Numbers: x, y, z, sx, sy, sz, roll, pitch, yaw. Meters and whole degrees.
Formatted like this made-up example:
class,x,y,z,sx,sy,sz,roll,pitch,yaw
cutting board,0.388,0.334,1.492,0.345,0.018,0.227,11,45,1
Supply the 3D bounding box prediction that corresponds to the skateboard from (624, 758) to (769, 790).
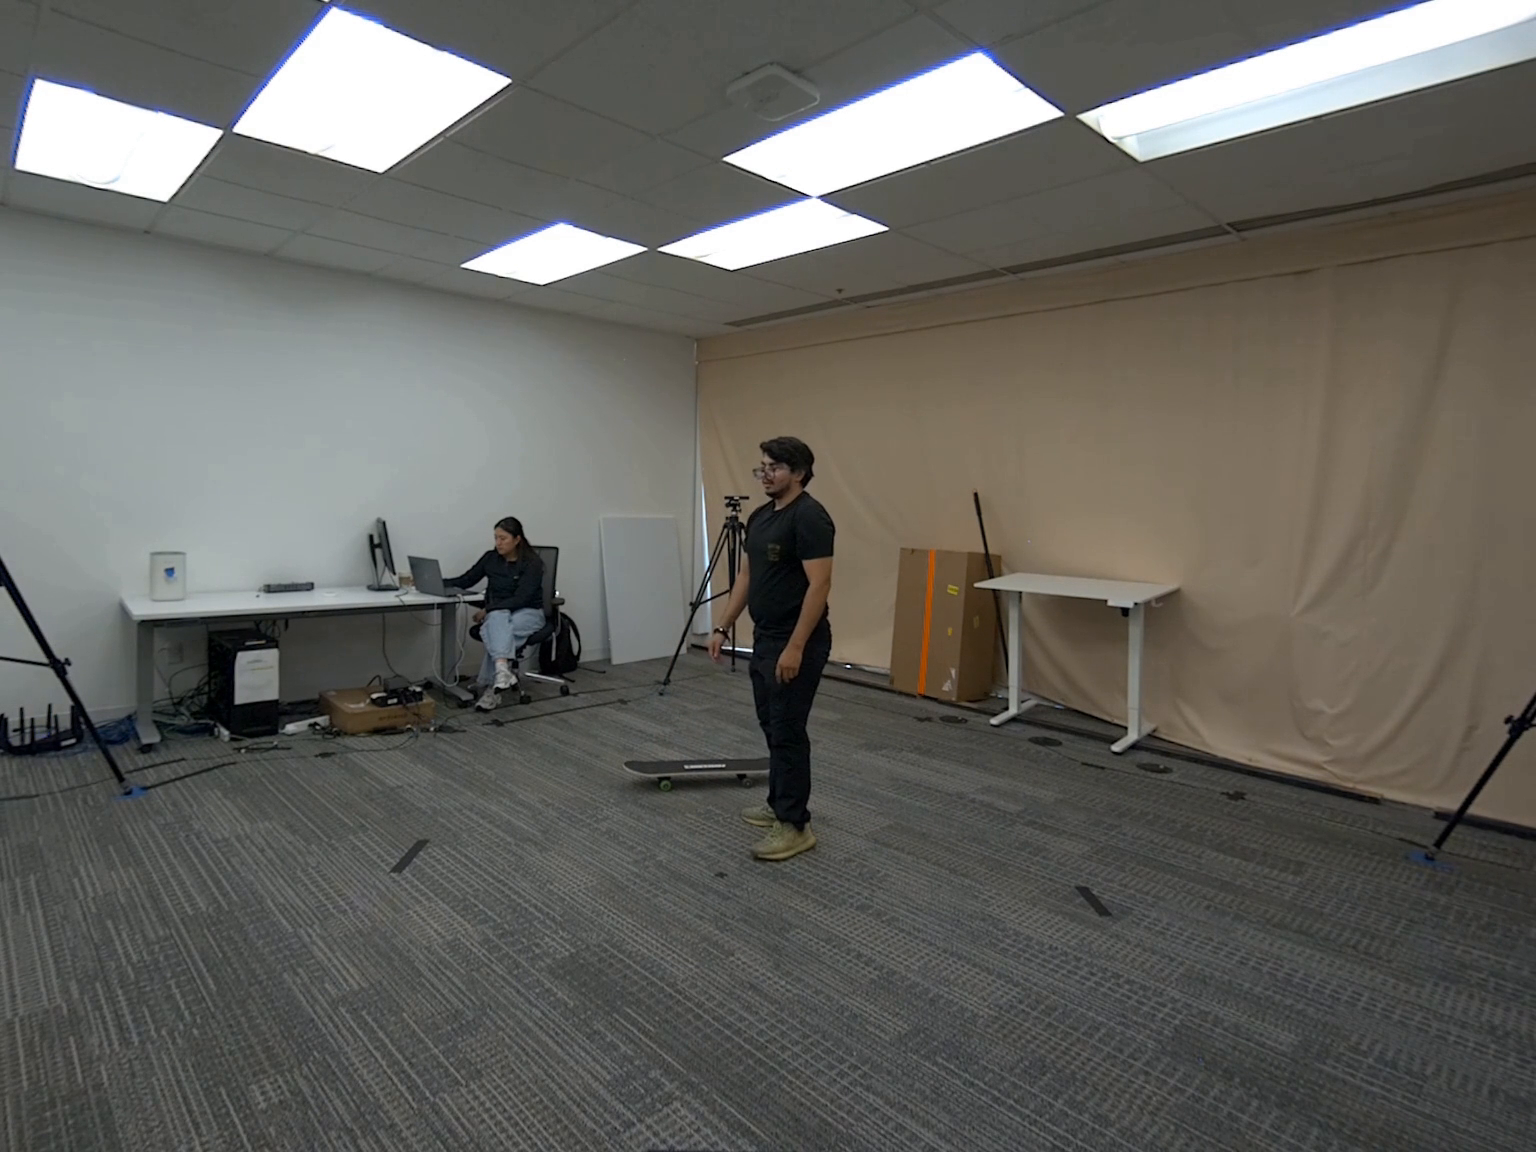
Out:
class,x,y,z,sx,sy,sz,roll,pitch,yaw
skateboard,-0.325,0.956,4.106,0.778,0.110,0.196,1,5,-12
